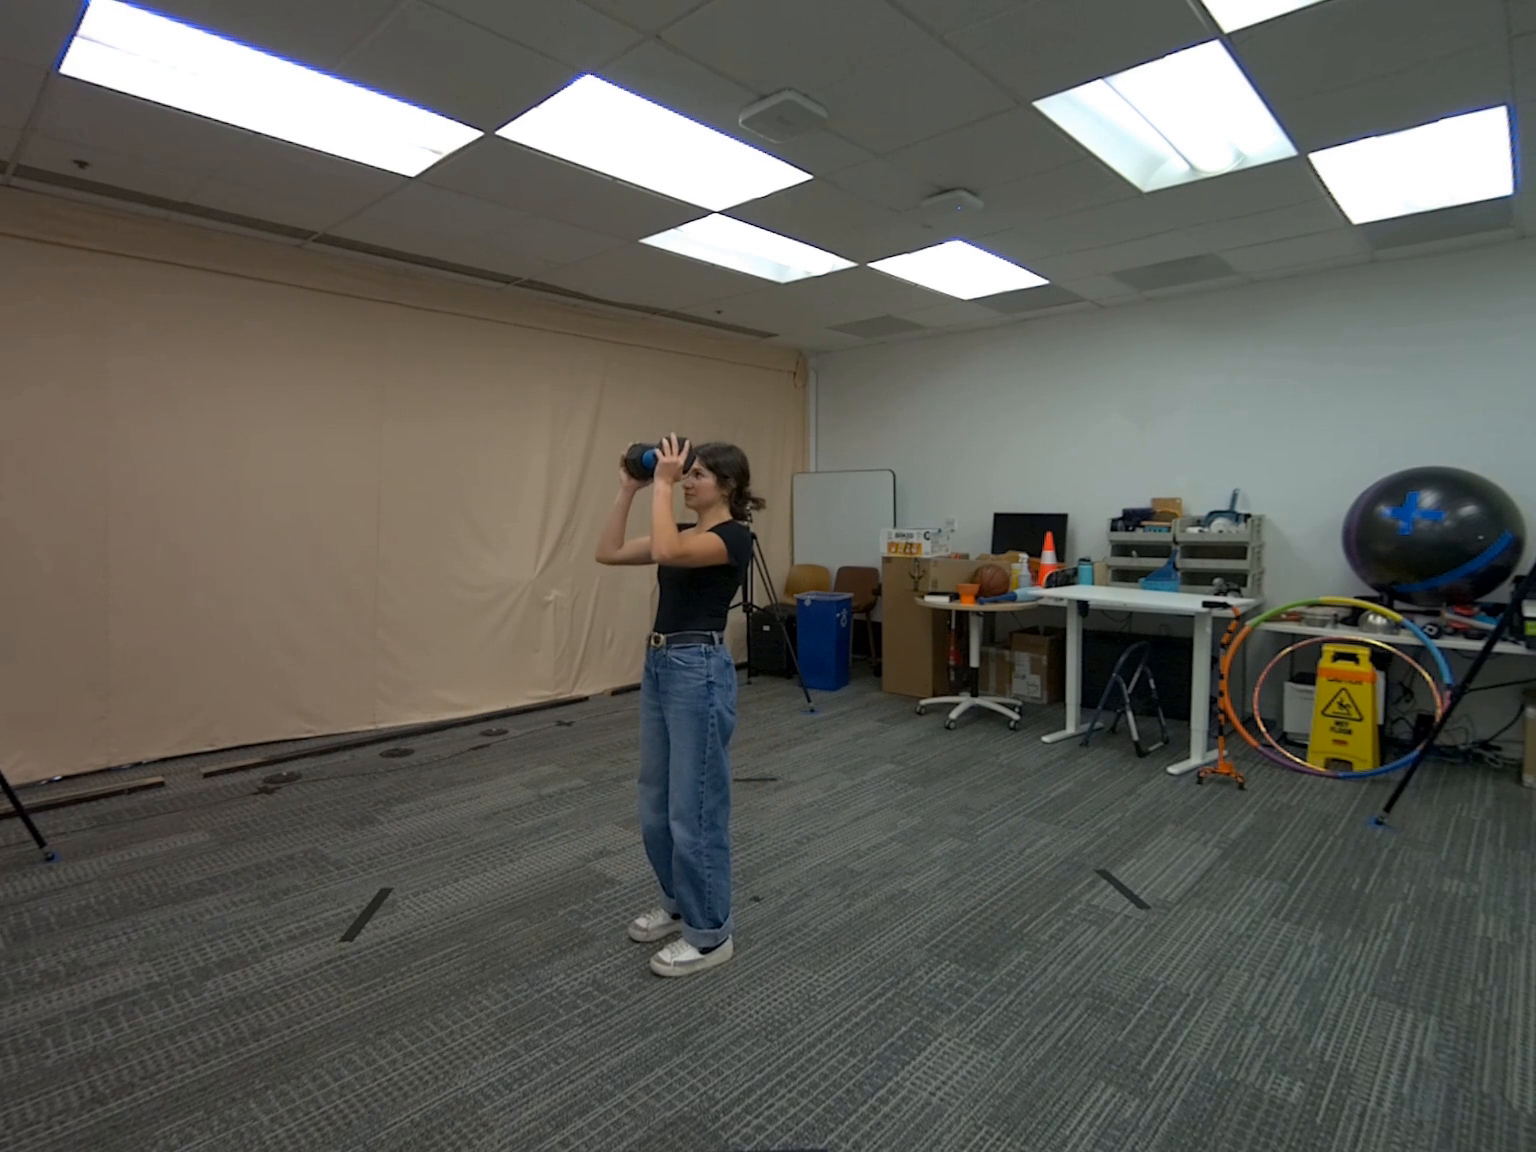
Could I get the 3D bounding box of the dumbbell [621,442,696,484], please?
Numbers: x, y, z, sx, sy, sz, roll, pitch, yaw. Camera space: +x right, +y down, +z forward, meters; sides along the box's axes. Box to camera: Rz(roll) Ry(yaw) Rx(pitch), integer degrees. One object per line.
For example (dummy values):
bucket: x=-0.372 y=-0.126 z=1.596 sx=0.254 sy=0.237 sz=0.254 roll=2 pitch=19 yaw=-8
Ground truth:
dumbbell: x=-0.333 y=-0.368 z=2.603 sx=0.107 sy=0.121 sz=0.302 roll=-34 pitch=19 yaw=-26
